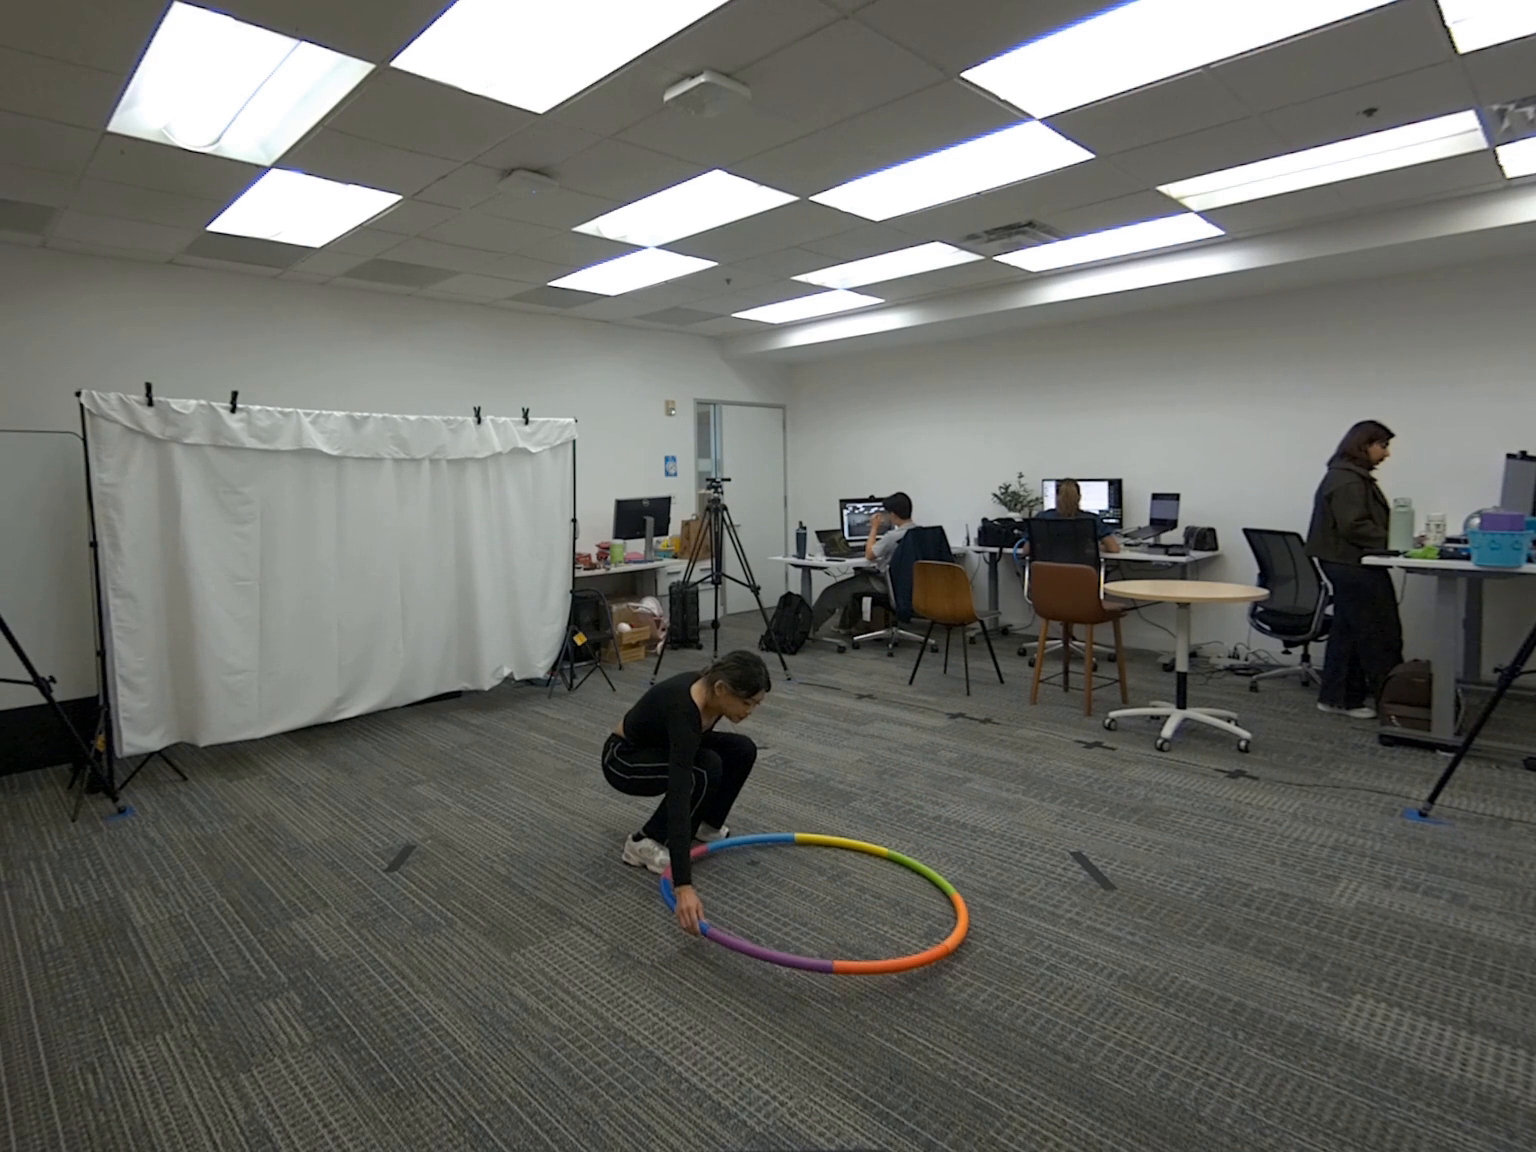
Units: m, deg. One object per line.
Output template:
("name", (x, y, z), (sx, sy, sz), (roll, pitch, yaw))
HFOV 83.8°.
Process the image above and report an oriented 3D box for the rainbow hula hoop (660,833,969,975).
("rainbow hula hoop", (0.135, 1.011, 2.776), (0.978, 0.035, 0.981), (2, 3, -2))
